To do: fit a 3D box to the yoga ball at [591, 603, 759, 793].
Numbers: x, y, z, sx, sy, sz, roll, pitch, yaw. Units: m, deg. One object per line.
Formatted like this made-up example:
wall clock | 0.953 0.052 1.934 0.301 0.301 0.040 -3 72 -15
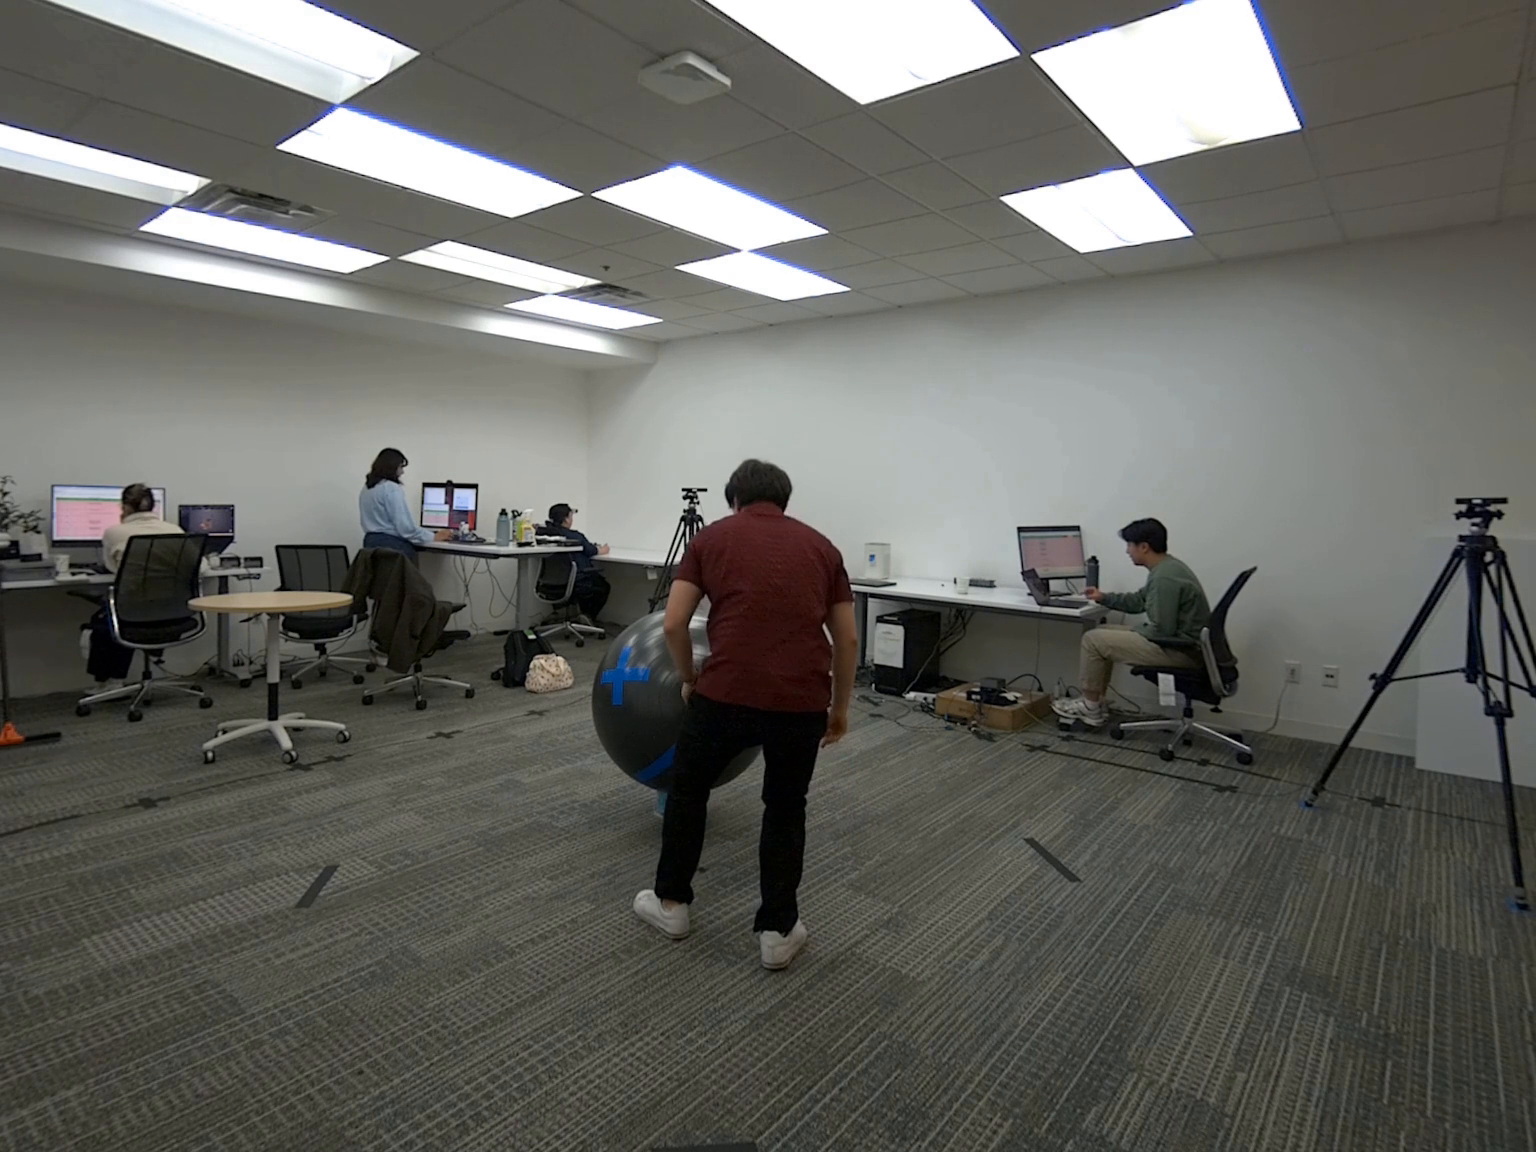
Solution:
yoga ball | -0.365 0.515 3.550 0.757 0.755 0.762 1 4 -2
